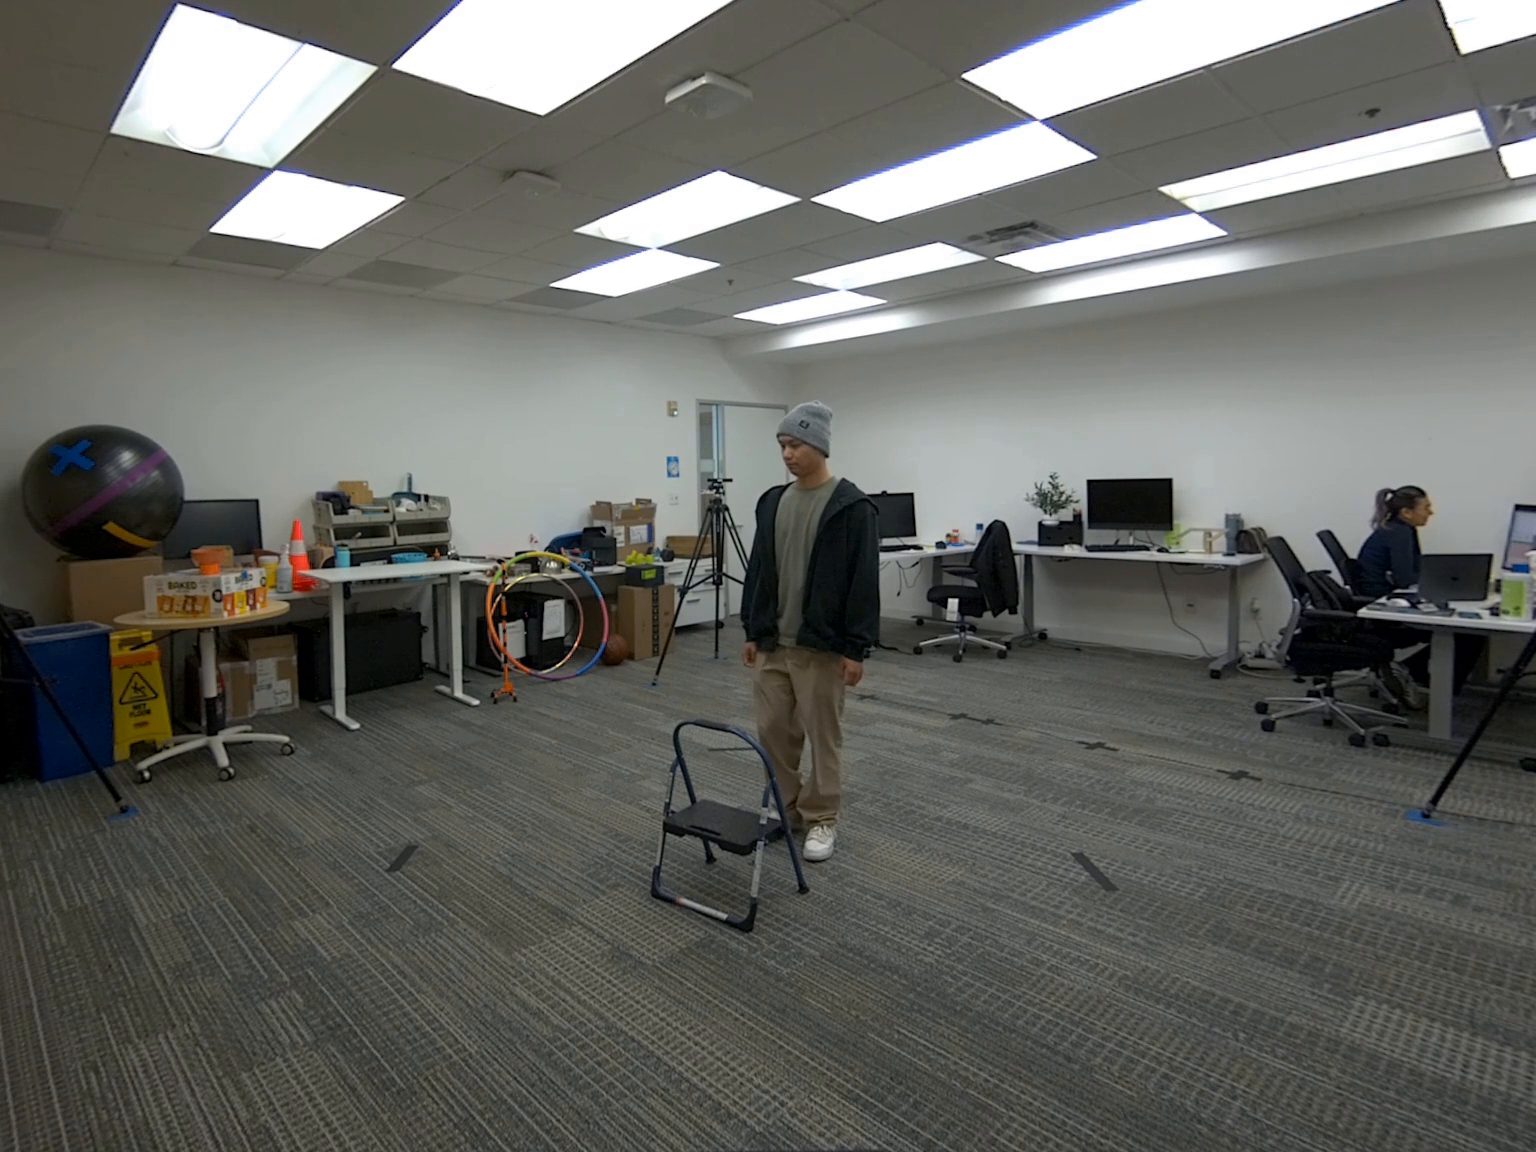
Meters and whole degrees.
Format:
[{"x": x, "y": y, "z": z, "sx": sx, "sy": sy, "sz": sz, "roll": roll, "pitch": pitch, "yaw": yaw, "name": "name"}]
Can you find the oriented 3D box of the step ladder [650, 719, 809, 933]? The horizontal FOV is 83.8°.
[{"x": -0.136, "y": 0.771, "z": 2.865, "sx": 0.443, "sy": 0.604, "sz": 0.341, "roll": 2, "pitch": 5, "yaw": 35, "name": "step ladder"}]
